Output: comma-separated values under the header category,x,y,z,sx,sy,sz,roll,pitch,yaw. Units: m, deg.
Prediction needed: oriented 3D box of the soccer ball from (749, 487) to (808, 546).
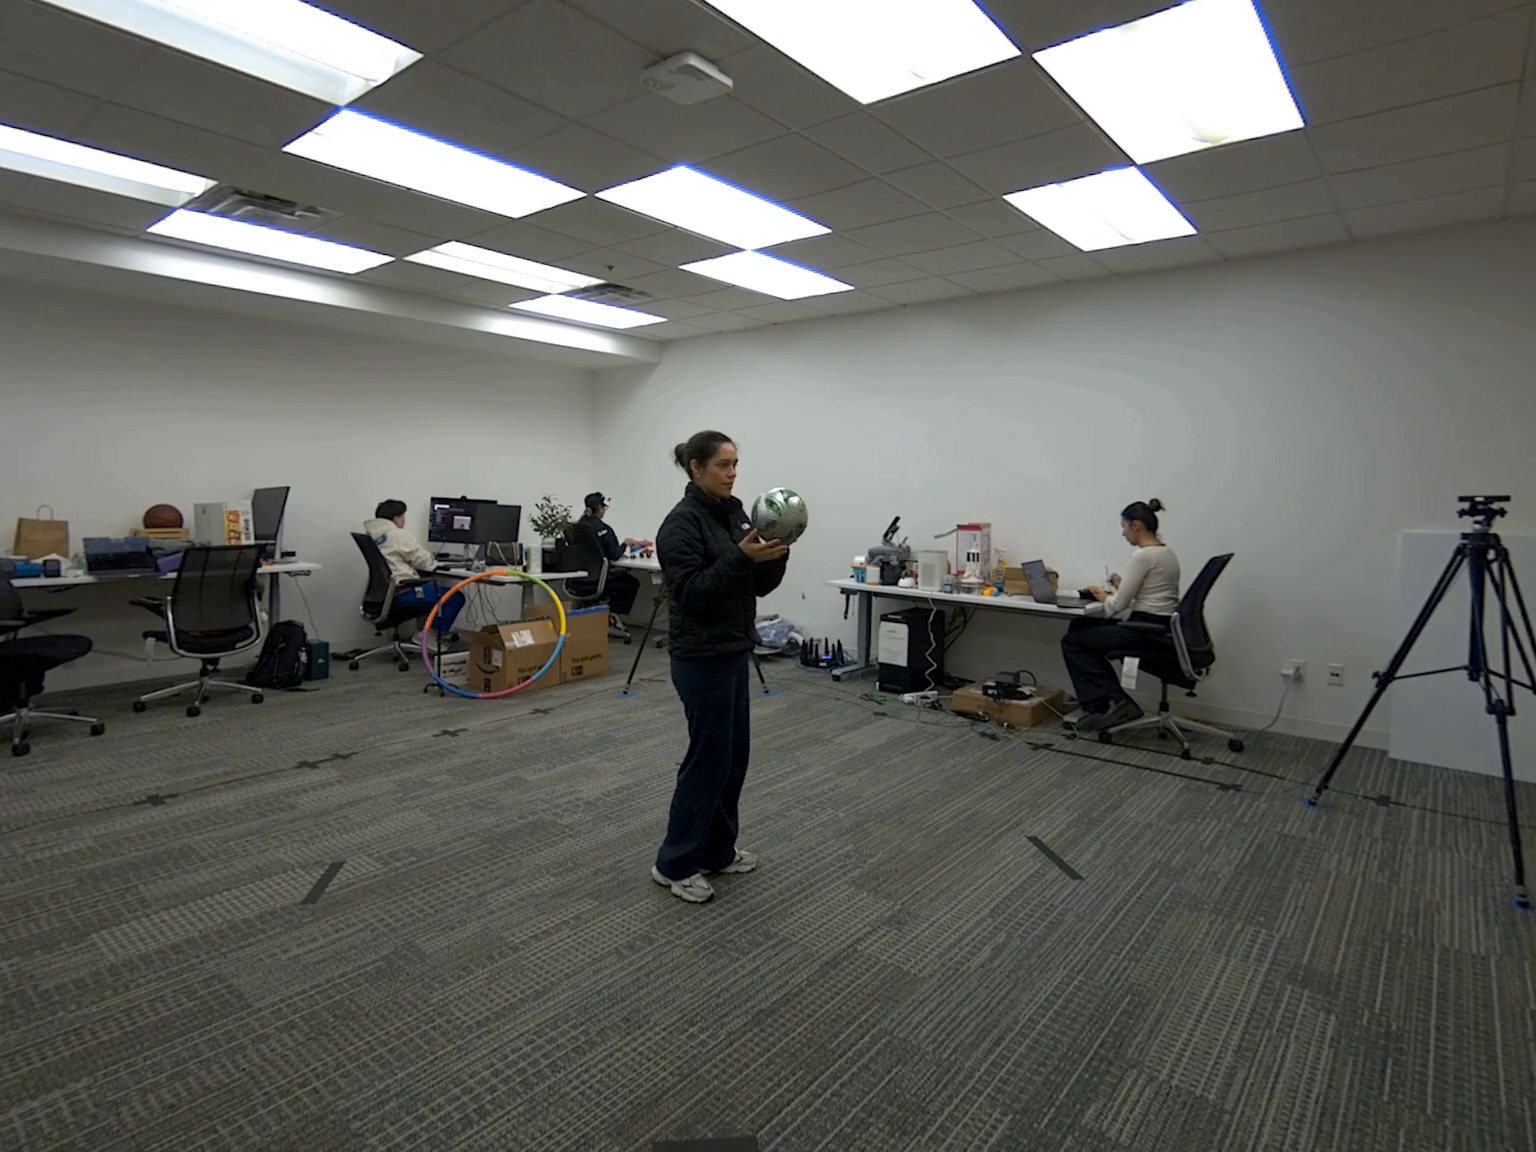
category,x,y,z,sx,sy,sz,roll,pitch,yaw
soccer ball,0.020,-0.190,2.785,0.187,0.187,0.188,1,4,-2
